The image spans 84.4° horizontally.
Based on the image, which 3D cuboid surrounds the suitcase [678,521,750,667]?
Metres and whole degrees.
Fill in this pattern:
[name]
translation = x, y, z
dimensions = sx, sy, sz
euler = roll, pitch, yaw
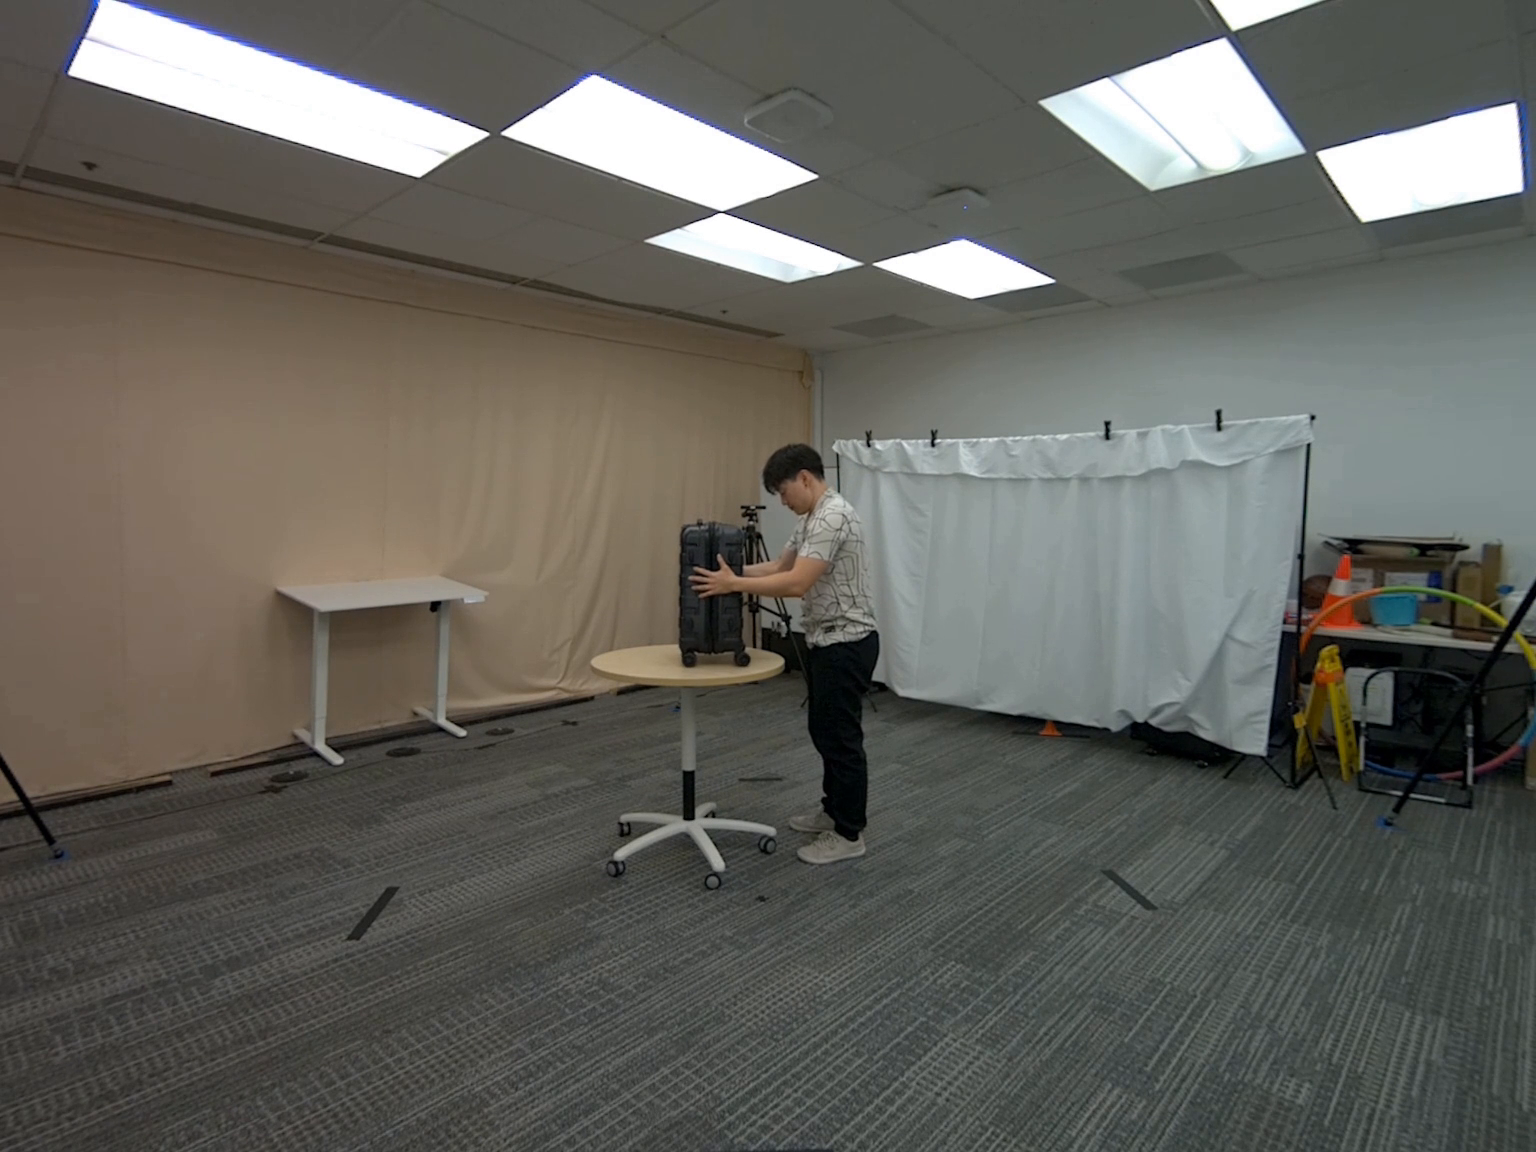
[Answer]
[suitcase]
translation = -0.219, 0.054, 3.341
dimensions = 0.248, 0.548, 0.377
euler = 0, 2, -3
